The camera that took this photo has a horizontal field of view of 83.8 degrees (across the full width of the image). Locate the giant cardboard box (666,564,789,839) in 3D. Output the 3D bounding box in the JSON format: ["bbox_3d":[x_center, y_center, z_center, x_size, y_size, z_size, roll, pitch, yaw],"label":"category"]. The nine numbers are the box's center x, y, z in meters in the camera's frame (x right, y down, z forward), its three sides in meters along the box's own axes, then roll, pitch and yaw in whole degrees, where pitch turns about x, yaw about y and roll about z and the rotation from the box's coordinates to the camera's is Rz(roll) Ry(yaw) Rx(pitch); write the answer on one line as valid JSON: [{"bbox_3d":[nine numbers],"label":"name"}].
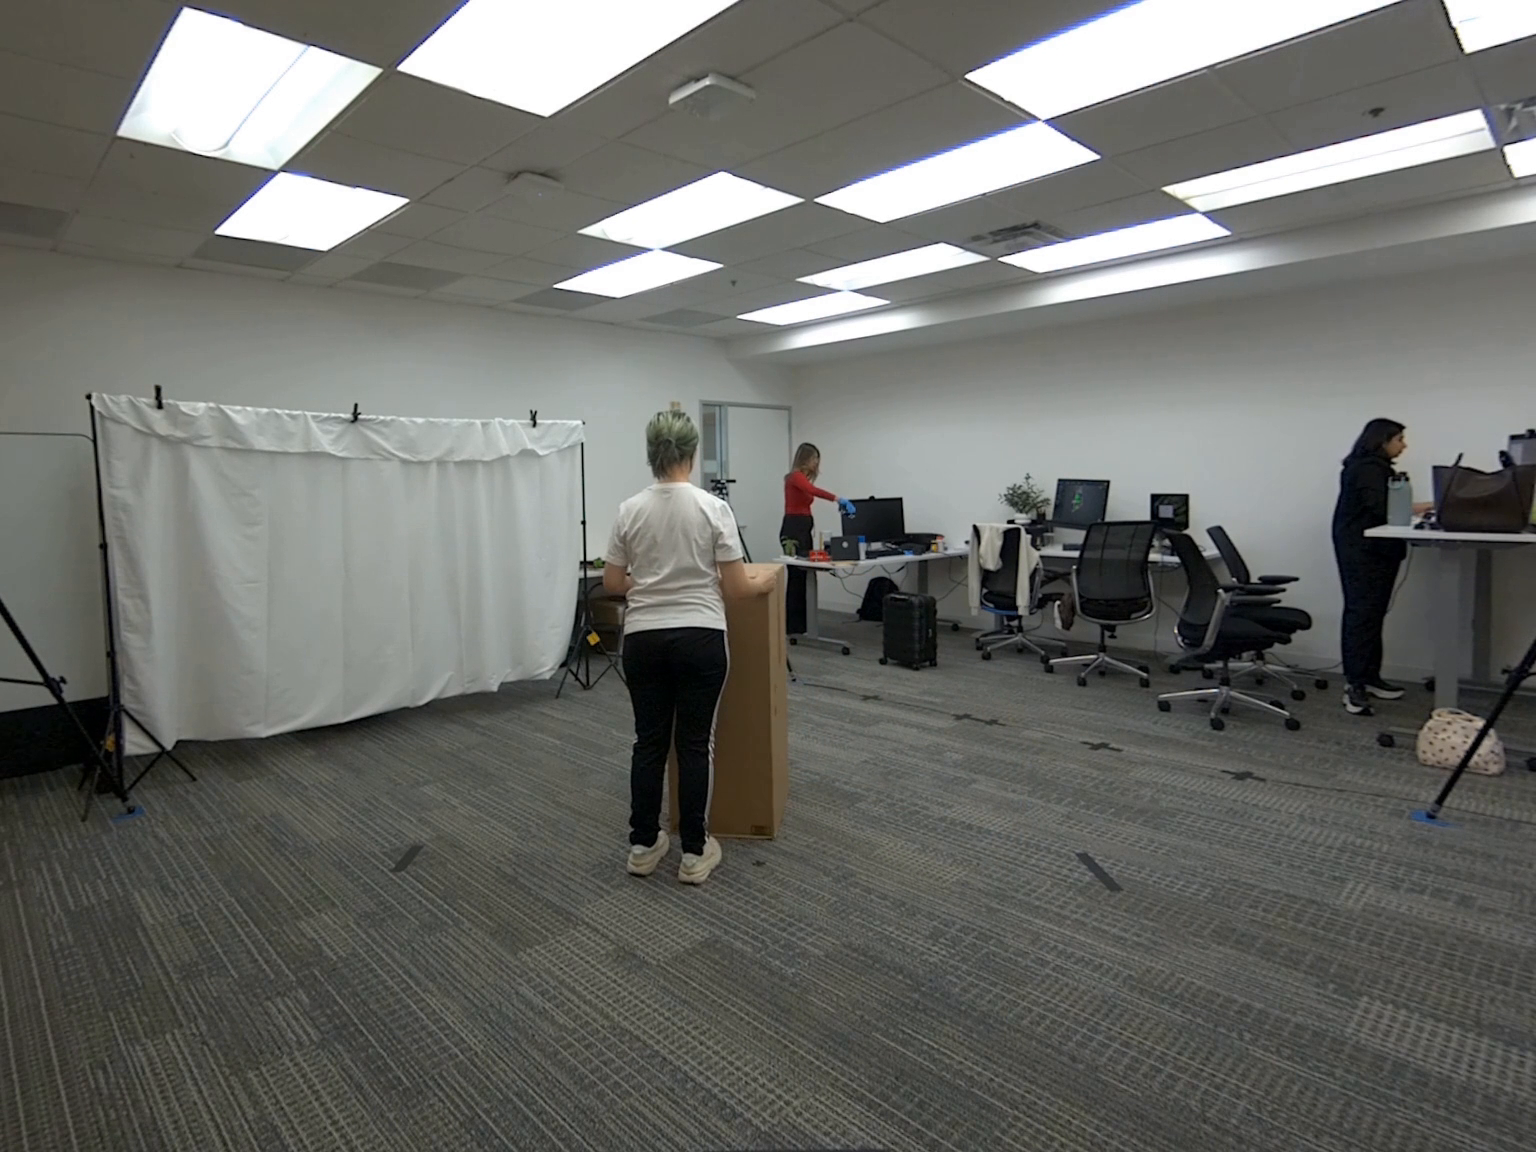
[{"bbox_3d":[-0.155,0.488,3.596,0.431,1.022,0.573,0,4,10],"label":"giant cardboard box"}]
